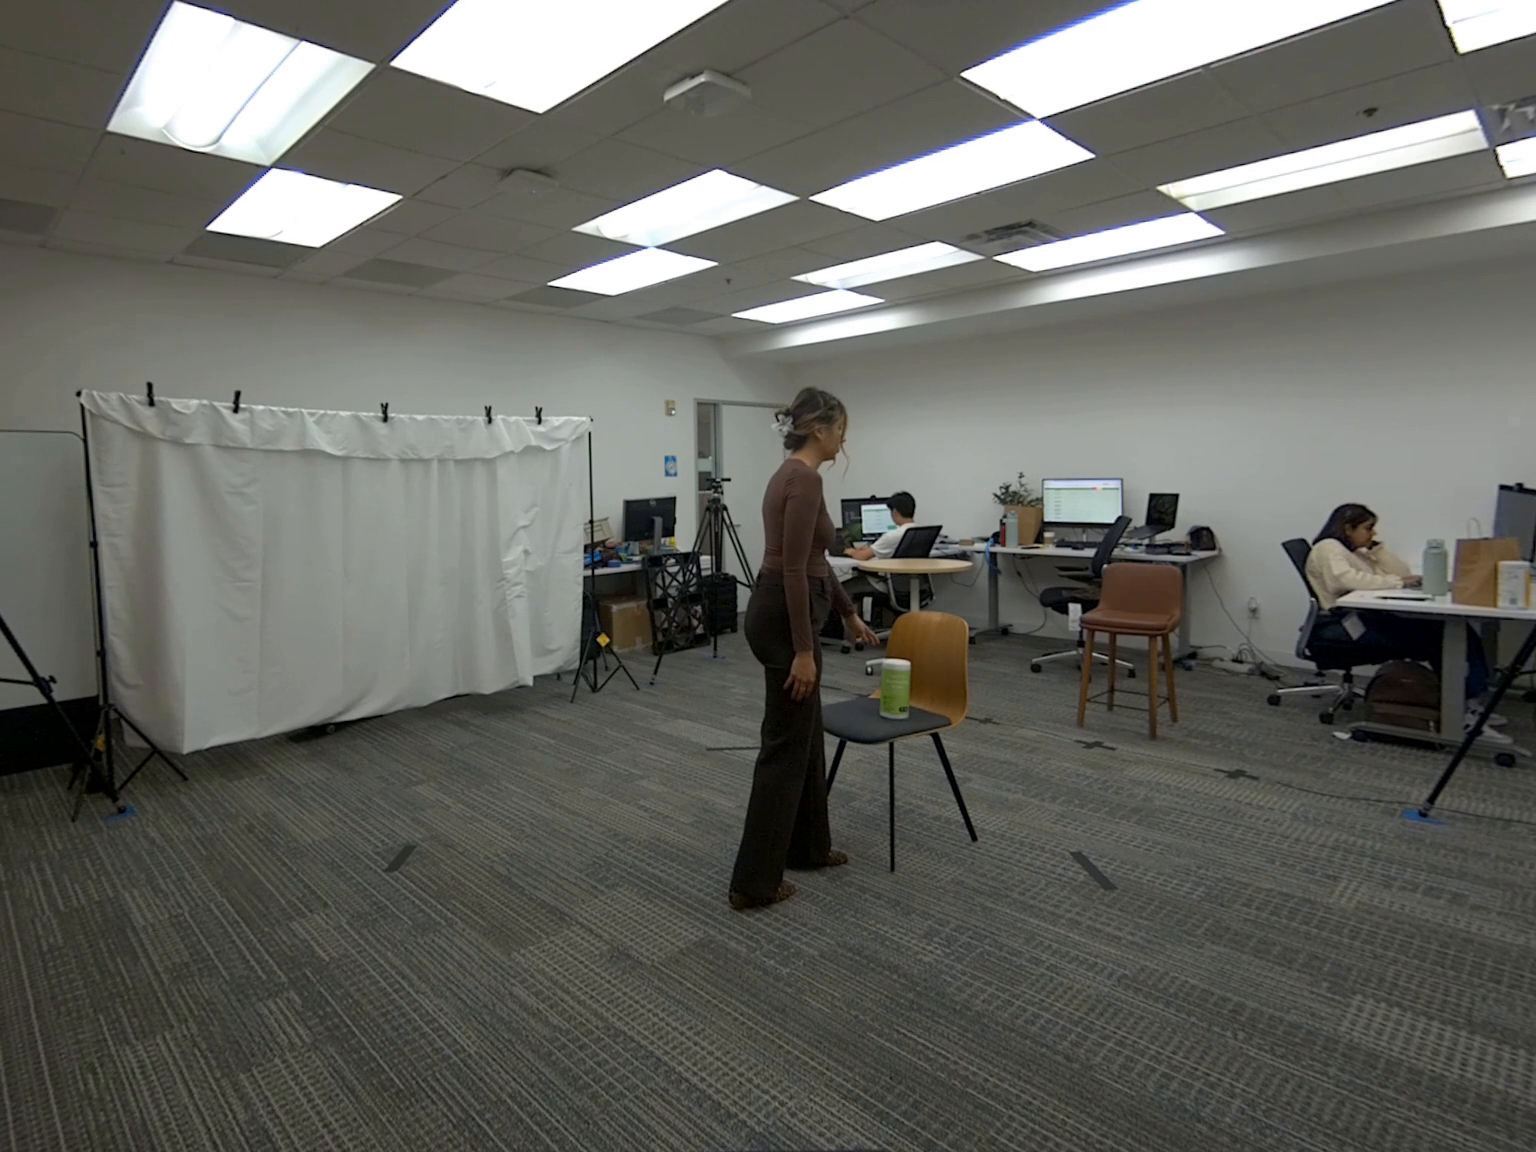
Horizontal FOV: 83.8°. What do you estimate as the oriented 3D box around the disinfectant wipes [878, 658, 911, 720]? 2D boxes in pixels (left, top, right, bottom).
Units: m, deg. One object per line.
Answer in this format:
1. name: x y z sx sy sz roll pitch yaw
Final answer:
1. disinfectant wipes: 0.497 0.437 3.297 0.118 0.217 0.118 3 0 -2
